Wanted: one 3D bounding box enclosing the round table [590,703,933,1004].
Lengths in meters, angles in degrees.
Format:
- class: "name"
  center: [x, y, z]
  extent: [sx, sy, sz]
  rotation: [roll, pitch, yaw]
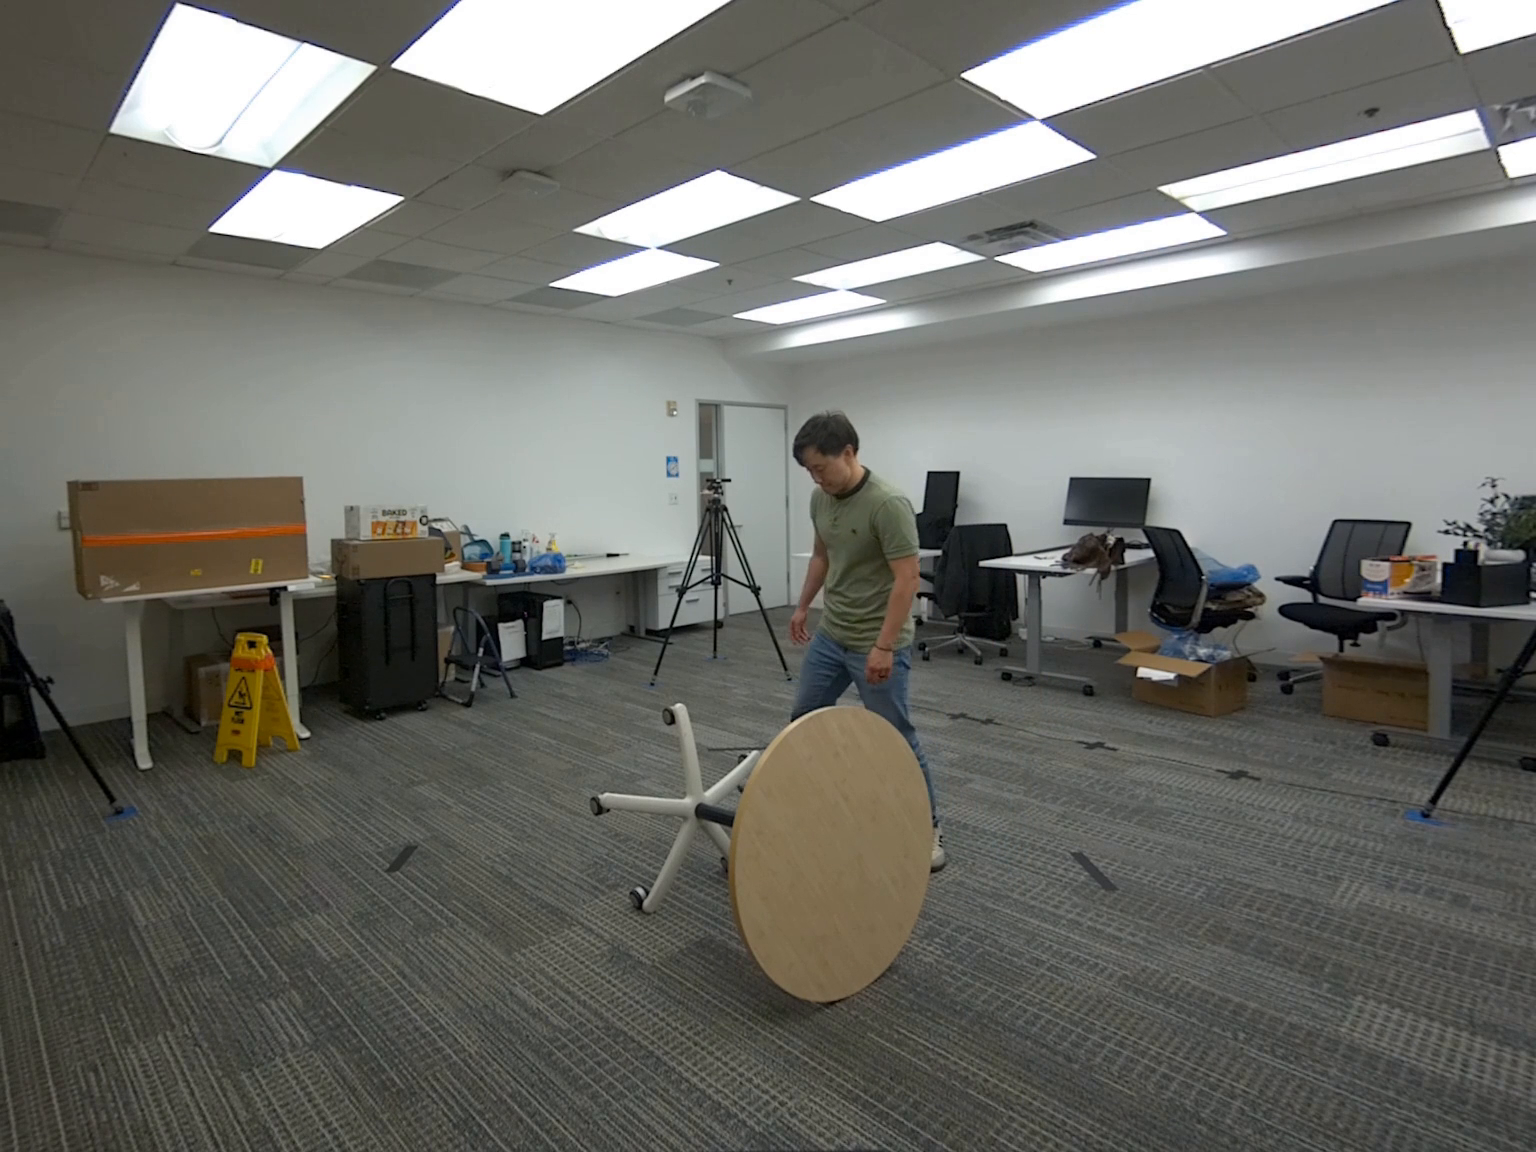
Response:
- class: "round table"
  center: [-0.049, 0.766, 2.650]
  extent: [0.744, 0.765, 0.814]
  rotation: [-5, -1, -40]
